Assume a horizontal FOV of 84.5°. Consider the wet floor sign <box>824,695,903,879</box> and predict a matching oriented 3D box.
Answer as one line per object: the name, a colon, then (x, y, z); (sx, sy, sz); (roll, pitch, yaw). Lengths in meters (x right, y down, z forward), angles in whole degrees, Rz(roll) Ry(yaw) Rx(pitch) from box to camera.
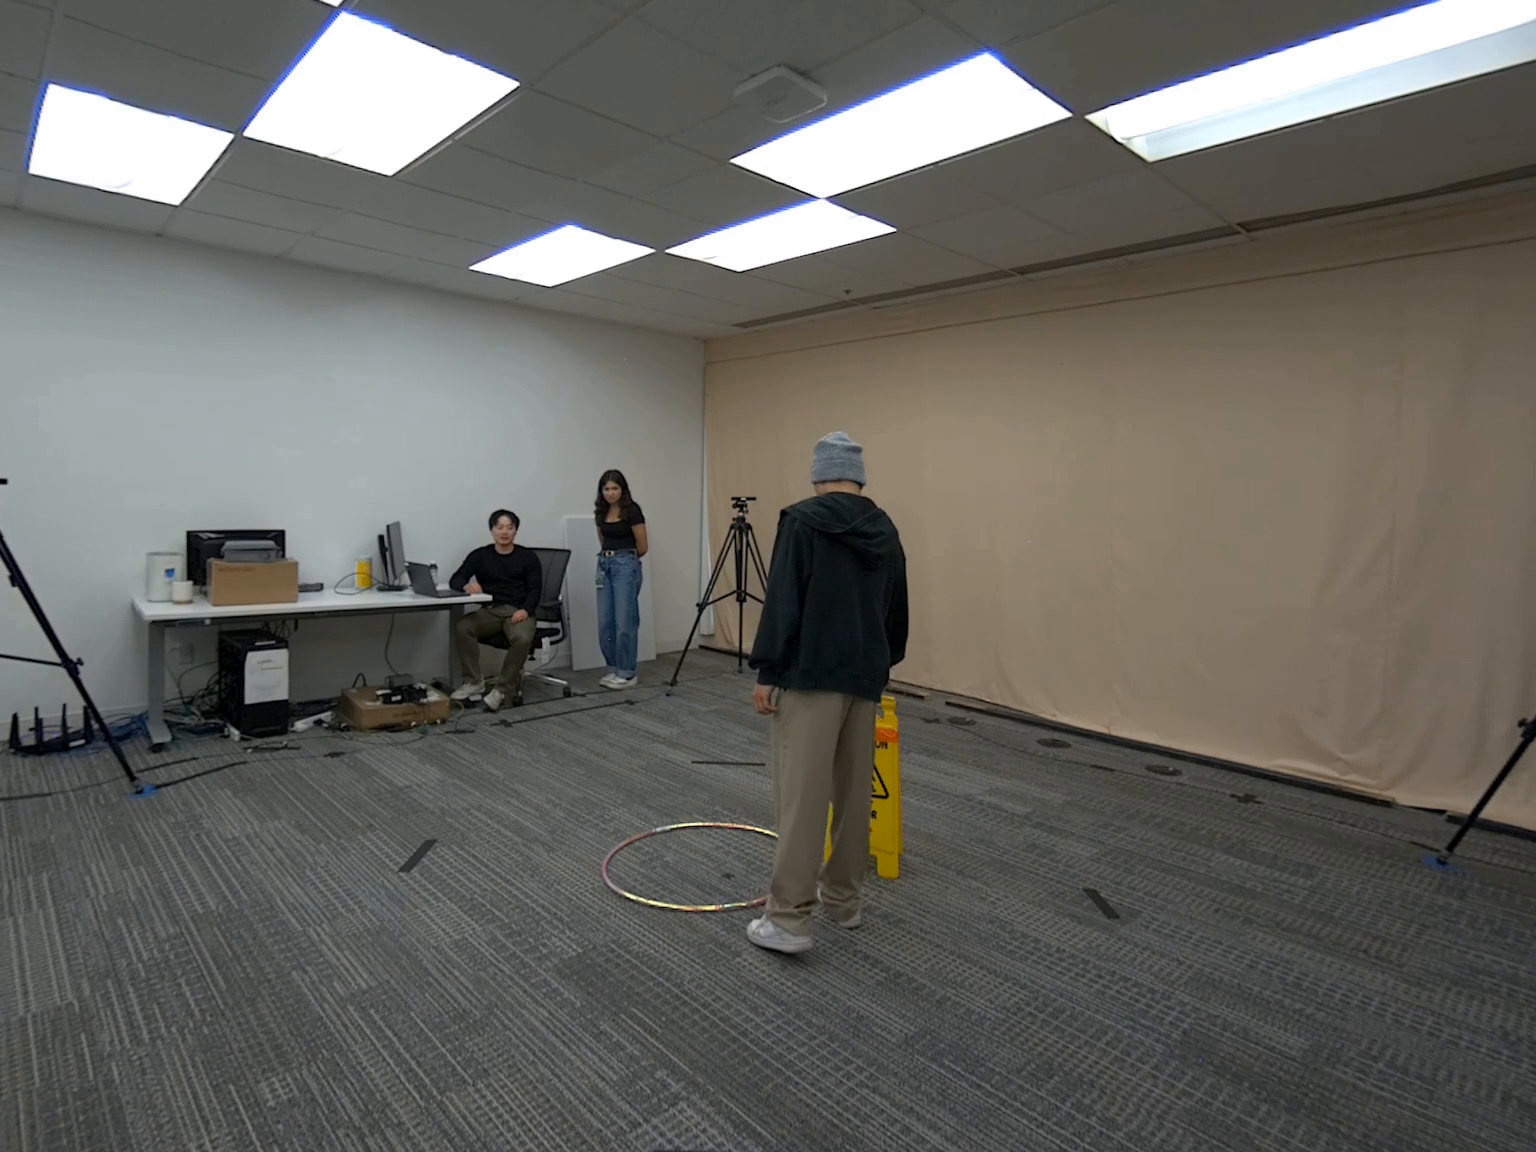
wet floor sign: (0.374, 0.787, 3.250); (0.285, 0.645, 0.287); (2, 3, 14)
